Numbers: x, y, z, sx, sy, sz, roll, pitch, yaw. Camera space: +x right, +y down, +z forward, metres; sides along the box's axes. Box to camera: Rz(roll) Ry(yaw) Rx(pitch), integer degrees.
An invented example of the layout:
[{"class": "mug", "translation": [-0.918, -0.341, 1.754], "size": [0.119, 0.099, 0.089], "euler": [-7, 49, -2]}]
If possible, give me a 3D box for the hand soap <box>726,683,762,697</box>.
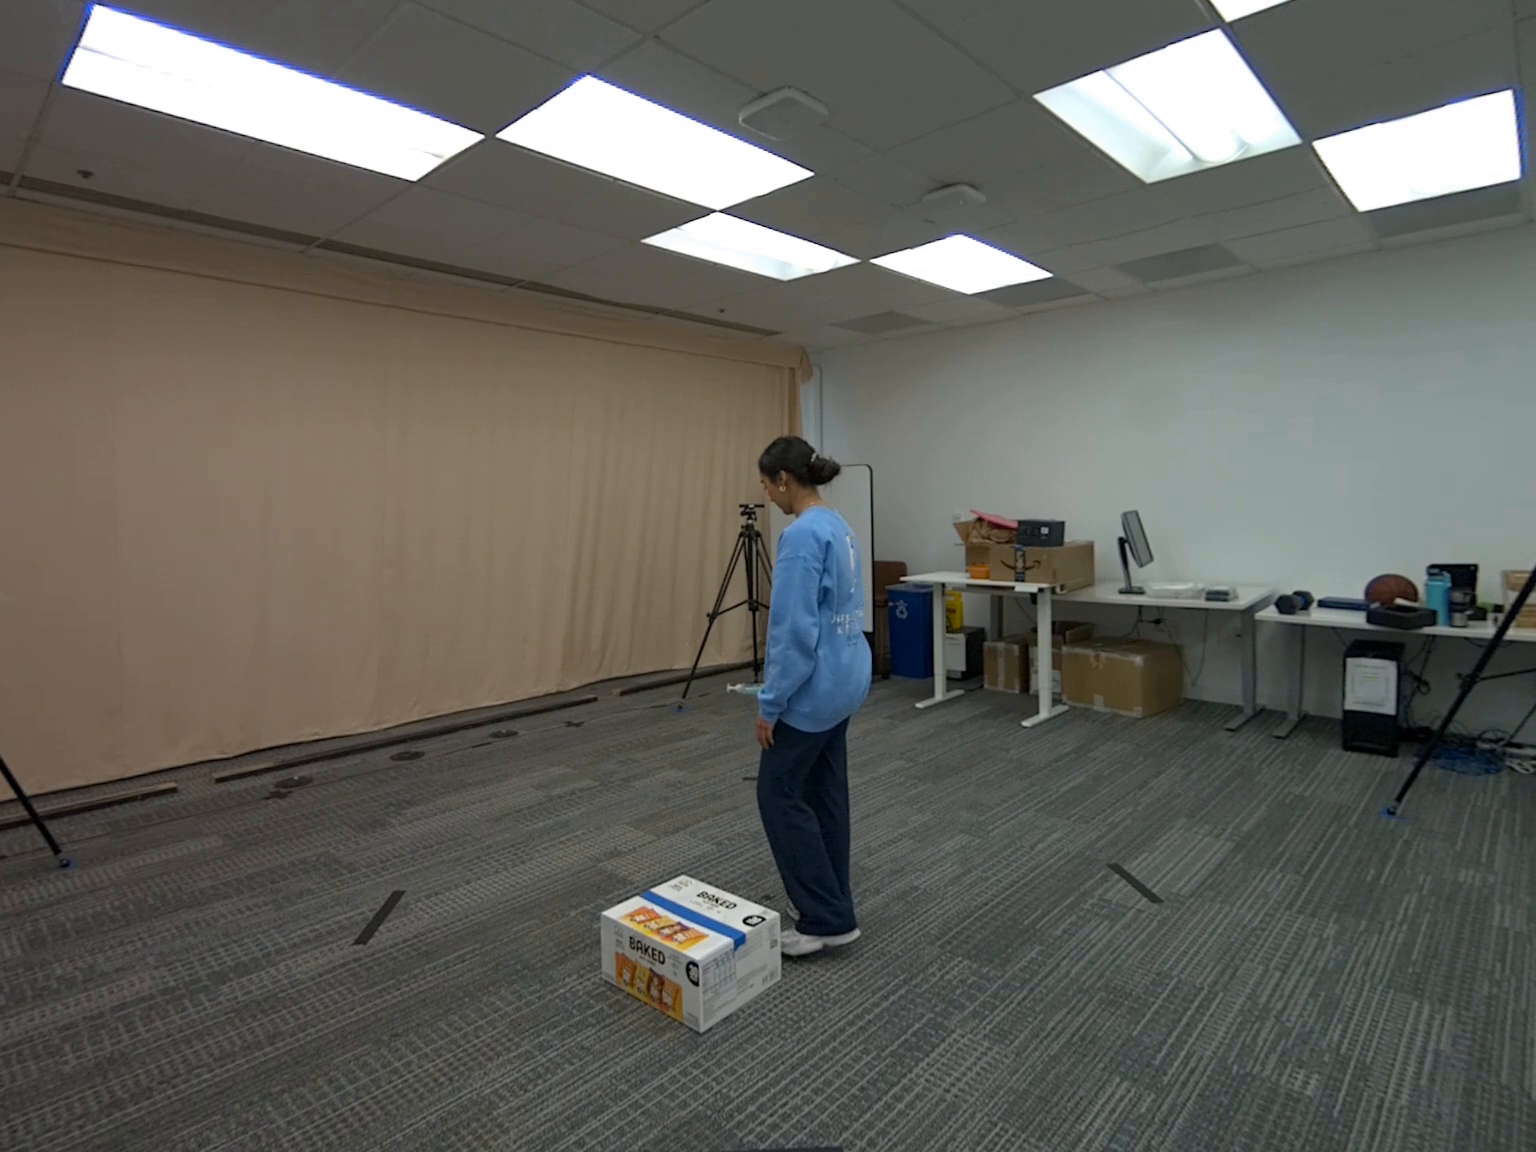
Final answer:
[{"class": "hand soap", "translation": [-0.065, 0.426, 3.048], "size": [0.165, 0.043, 0.086], "euler": [-2, 0, -19]}]
